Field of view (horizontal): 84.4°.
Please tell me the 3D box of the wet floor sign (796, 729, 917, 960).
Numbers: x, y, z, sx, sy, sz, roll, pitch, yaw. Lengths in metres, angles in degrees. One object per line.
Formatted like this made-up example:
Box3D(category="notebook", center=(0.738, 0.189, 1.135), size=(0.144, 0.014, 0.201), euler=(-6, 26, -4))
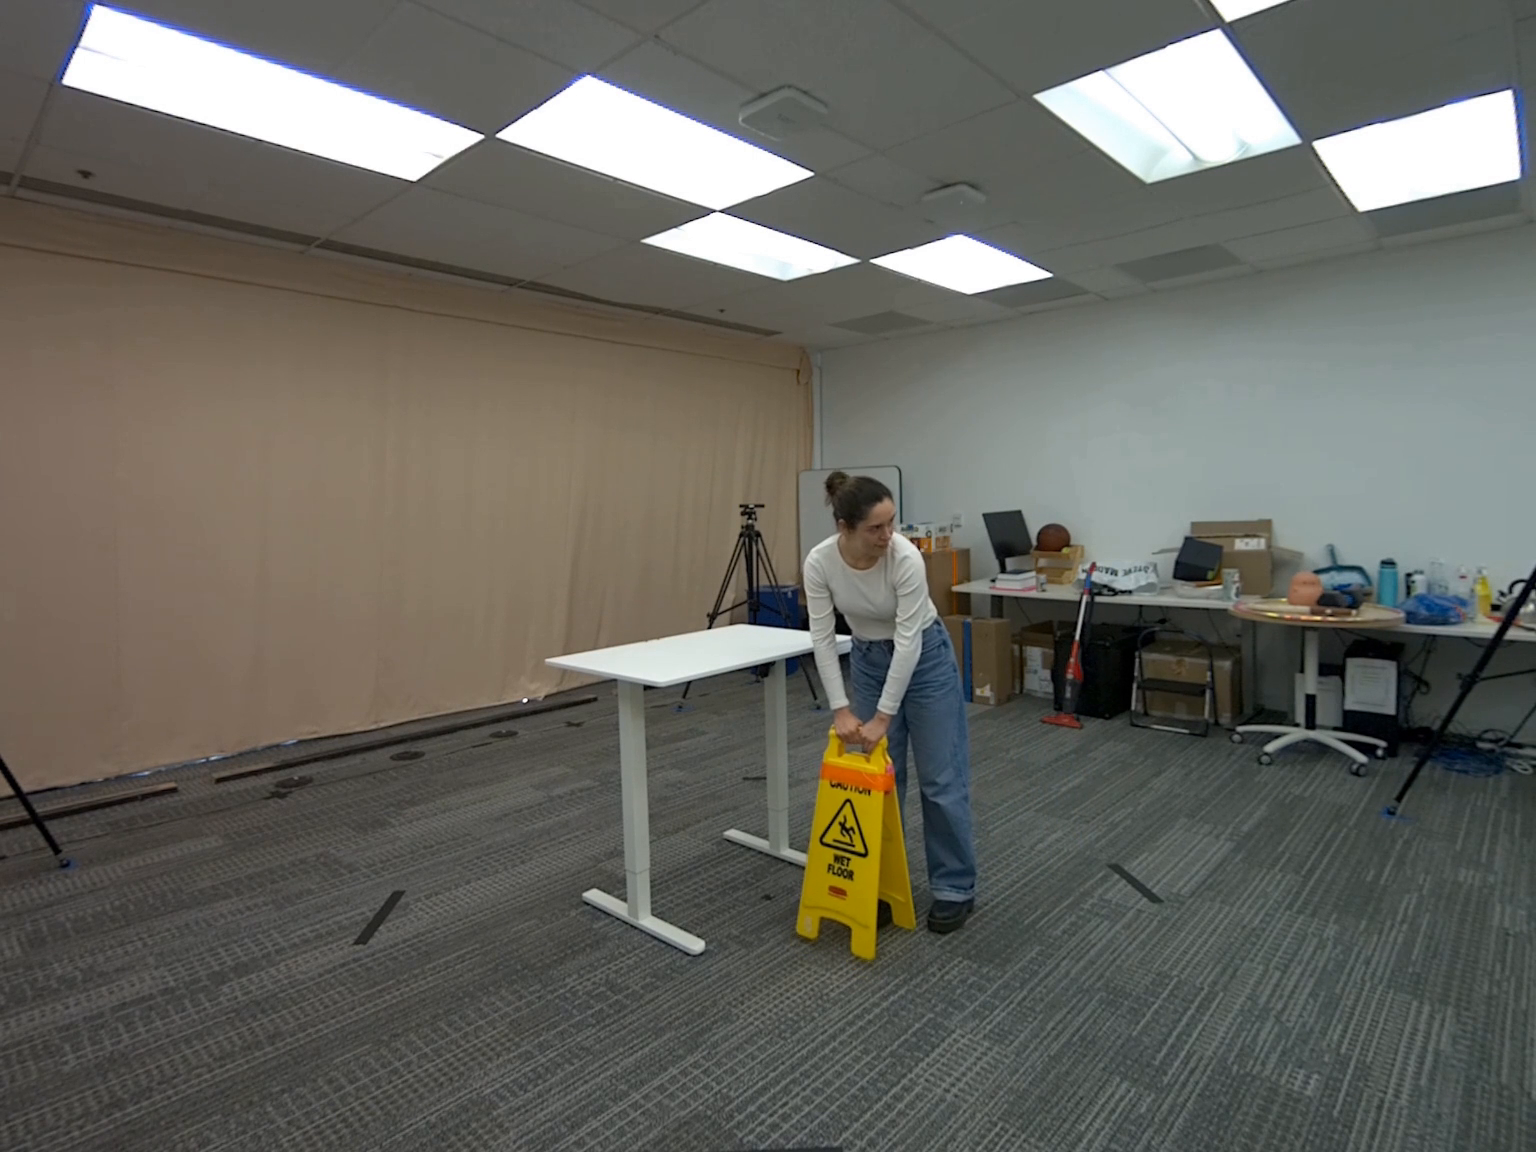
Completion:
Box3D(category="wet floor sign", center=(0.295, 0.809, 2.685), size=(0.291, 0.646, 0.280), euler=(1, 0, 39))
